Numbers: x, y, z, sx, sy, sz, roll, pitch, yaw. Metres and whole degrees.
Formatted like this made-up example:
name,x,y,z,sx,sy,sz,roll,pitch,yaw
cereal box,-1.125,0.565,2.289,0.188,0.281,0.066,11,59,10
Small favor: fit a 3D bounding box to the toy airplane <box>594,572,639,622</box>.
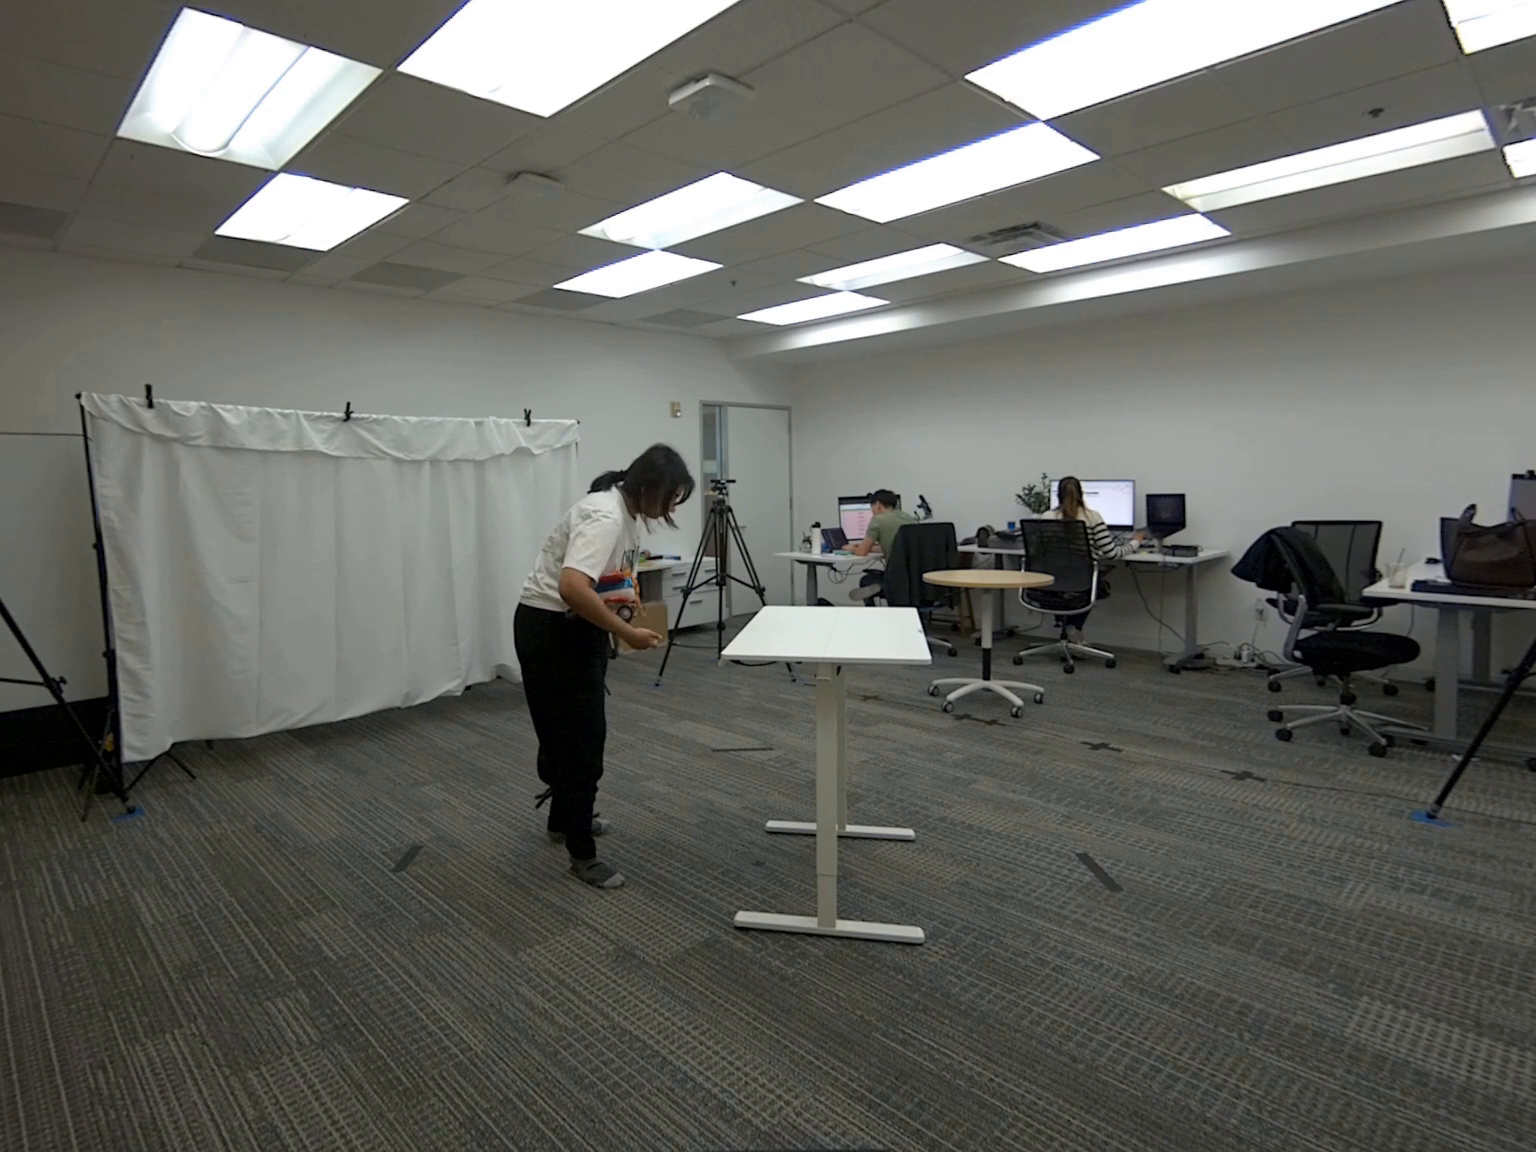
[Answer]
name,x,y,z,sx,sy,sz,roll,pitch,yaw
toy airplane,-0.561,0.072,2.843,0.251,0.158,0.256,13,-12,-32
